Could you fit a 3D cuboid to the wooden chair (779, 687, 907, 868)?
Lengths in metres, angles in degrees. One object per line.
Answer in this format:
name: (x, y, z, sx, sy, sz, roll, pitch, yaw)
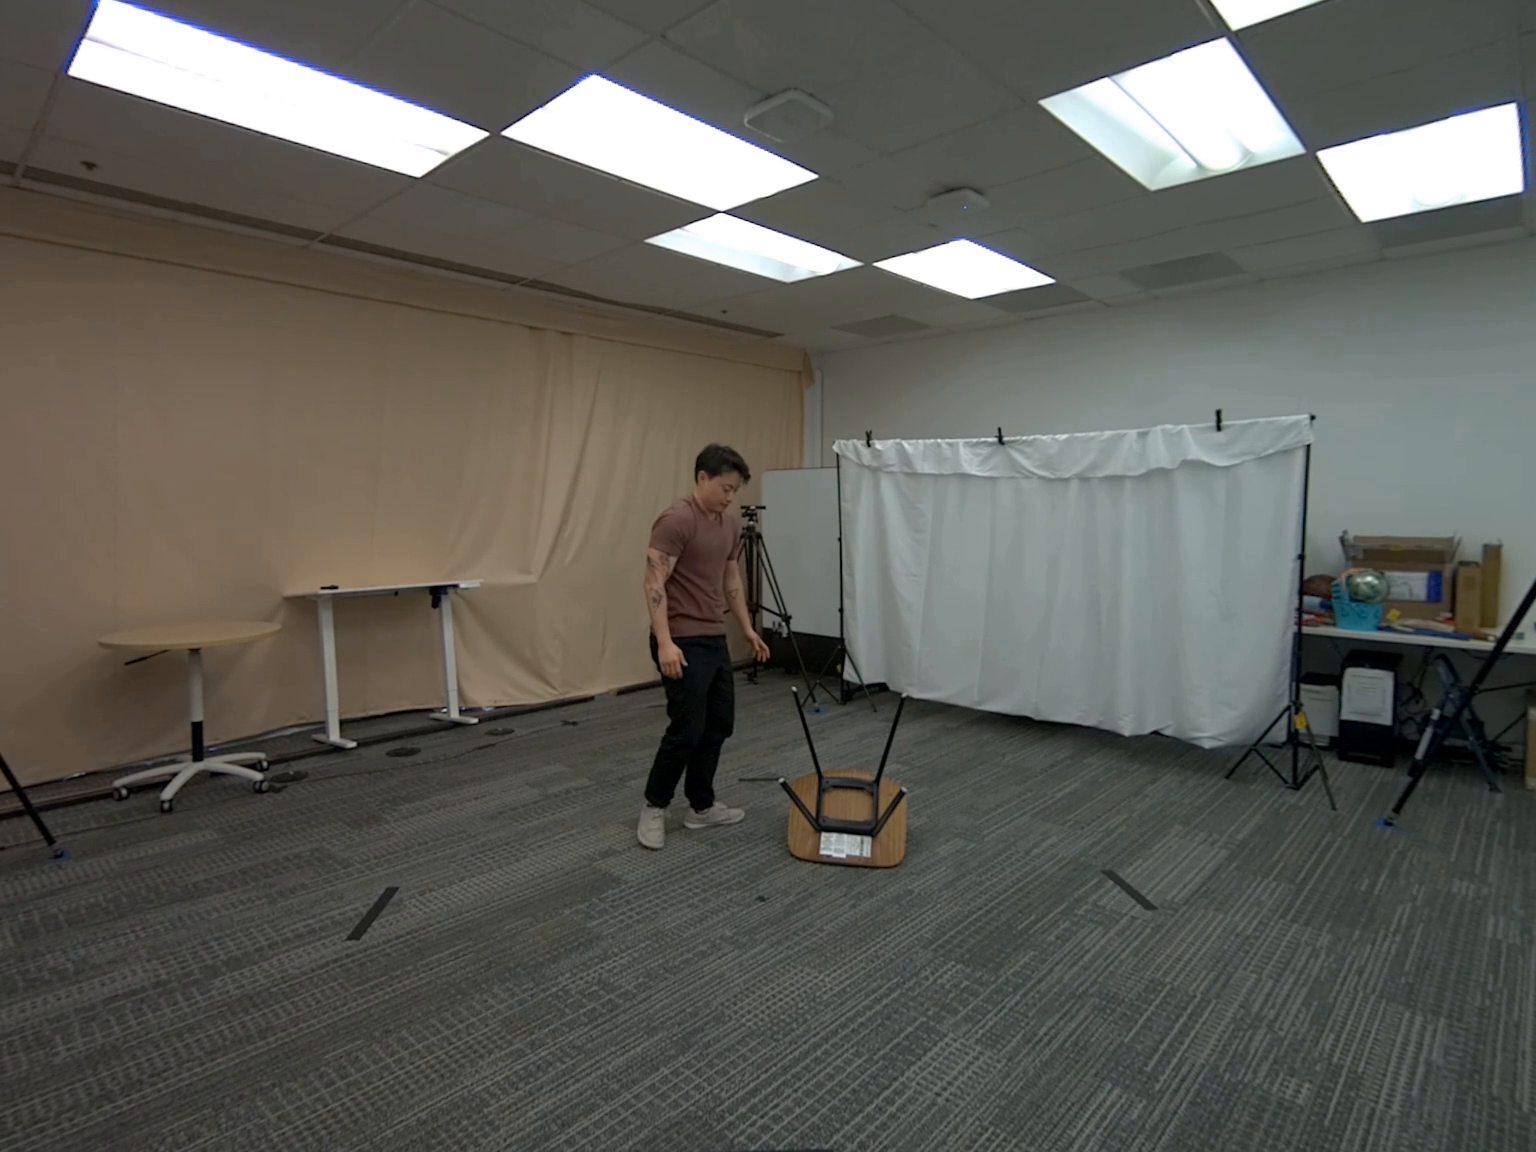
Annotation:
wooden chair: (0.324, 0.935, 3.428, 0.483, 0.857, 0.529, 1, 44, 9)
